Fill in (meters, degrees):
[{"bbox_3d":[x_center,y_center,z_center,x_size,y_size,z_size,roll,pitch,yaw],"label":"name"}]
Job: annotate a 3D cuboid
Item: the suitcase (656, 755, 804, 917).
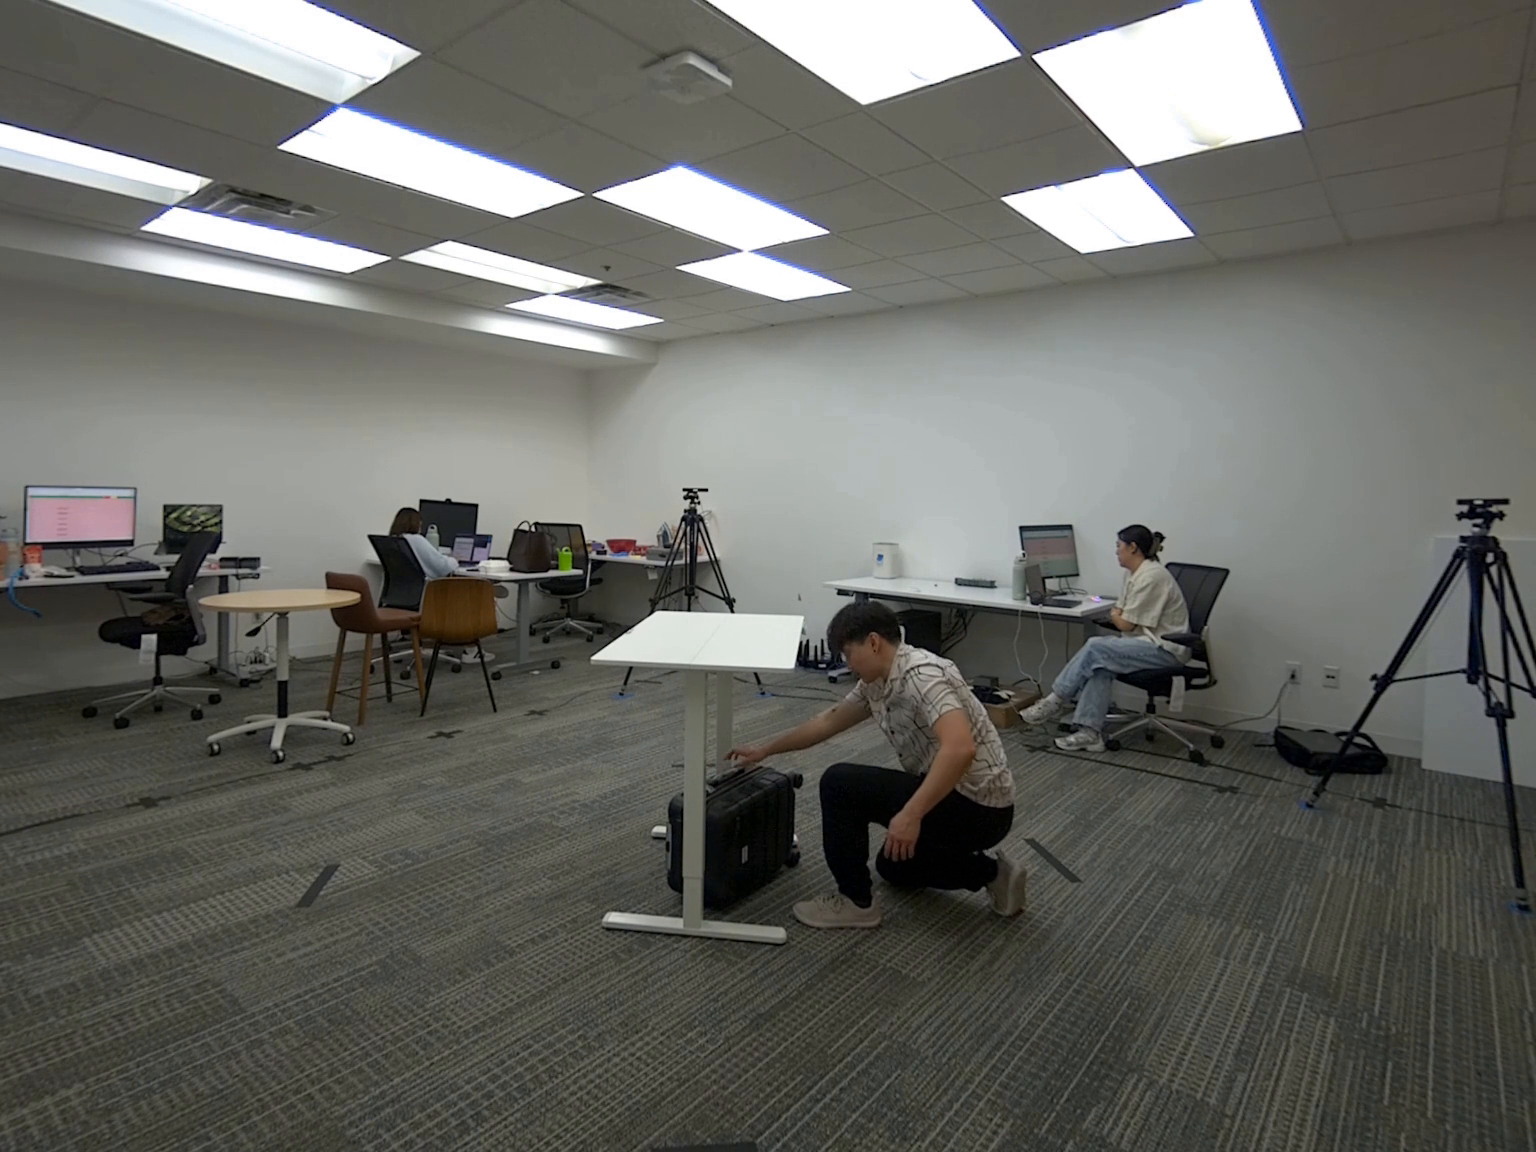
[{"bbox_3d":[-0.125,0.884,3.006,0.256,0.374,0.534,4,5,33],"label":"suitcase"}]
